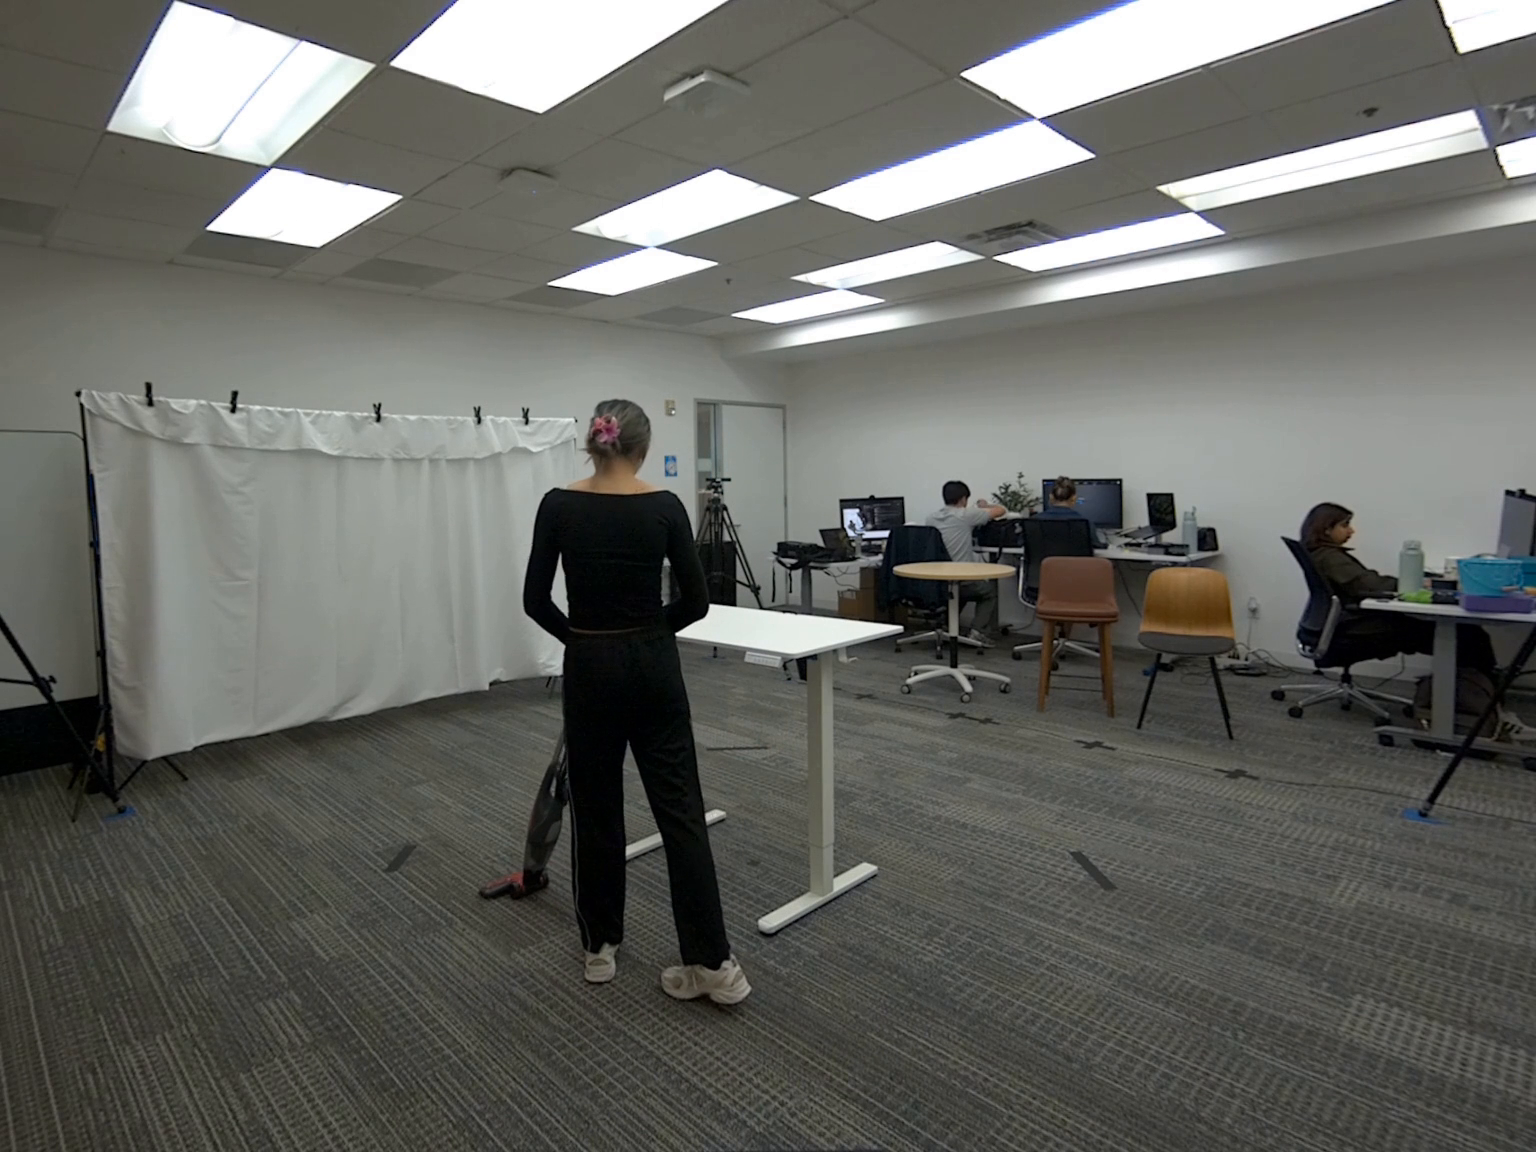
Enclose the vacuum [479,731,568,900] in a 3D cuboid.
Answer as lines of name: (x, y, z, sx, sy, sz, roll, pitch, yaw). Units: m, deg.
vacuum: (-0.669, 0.636, 2.744, 0.149, 1.038, 0.247, 36, 27, 27)
